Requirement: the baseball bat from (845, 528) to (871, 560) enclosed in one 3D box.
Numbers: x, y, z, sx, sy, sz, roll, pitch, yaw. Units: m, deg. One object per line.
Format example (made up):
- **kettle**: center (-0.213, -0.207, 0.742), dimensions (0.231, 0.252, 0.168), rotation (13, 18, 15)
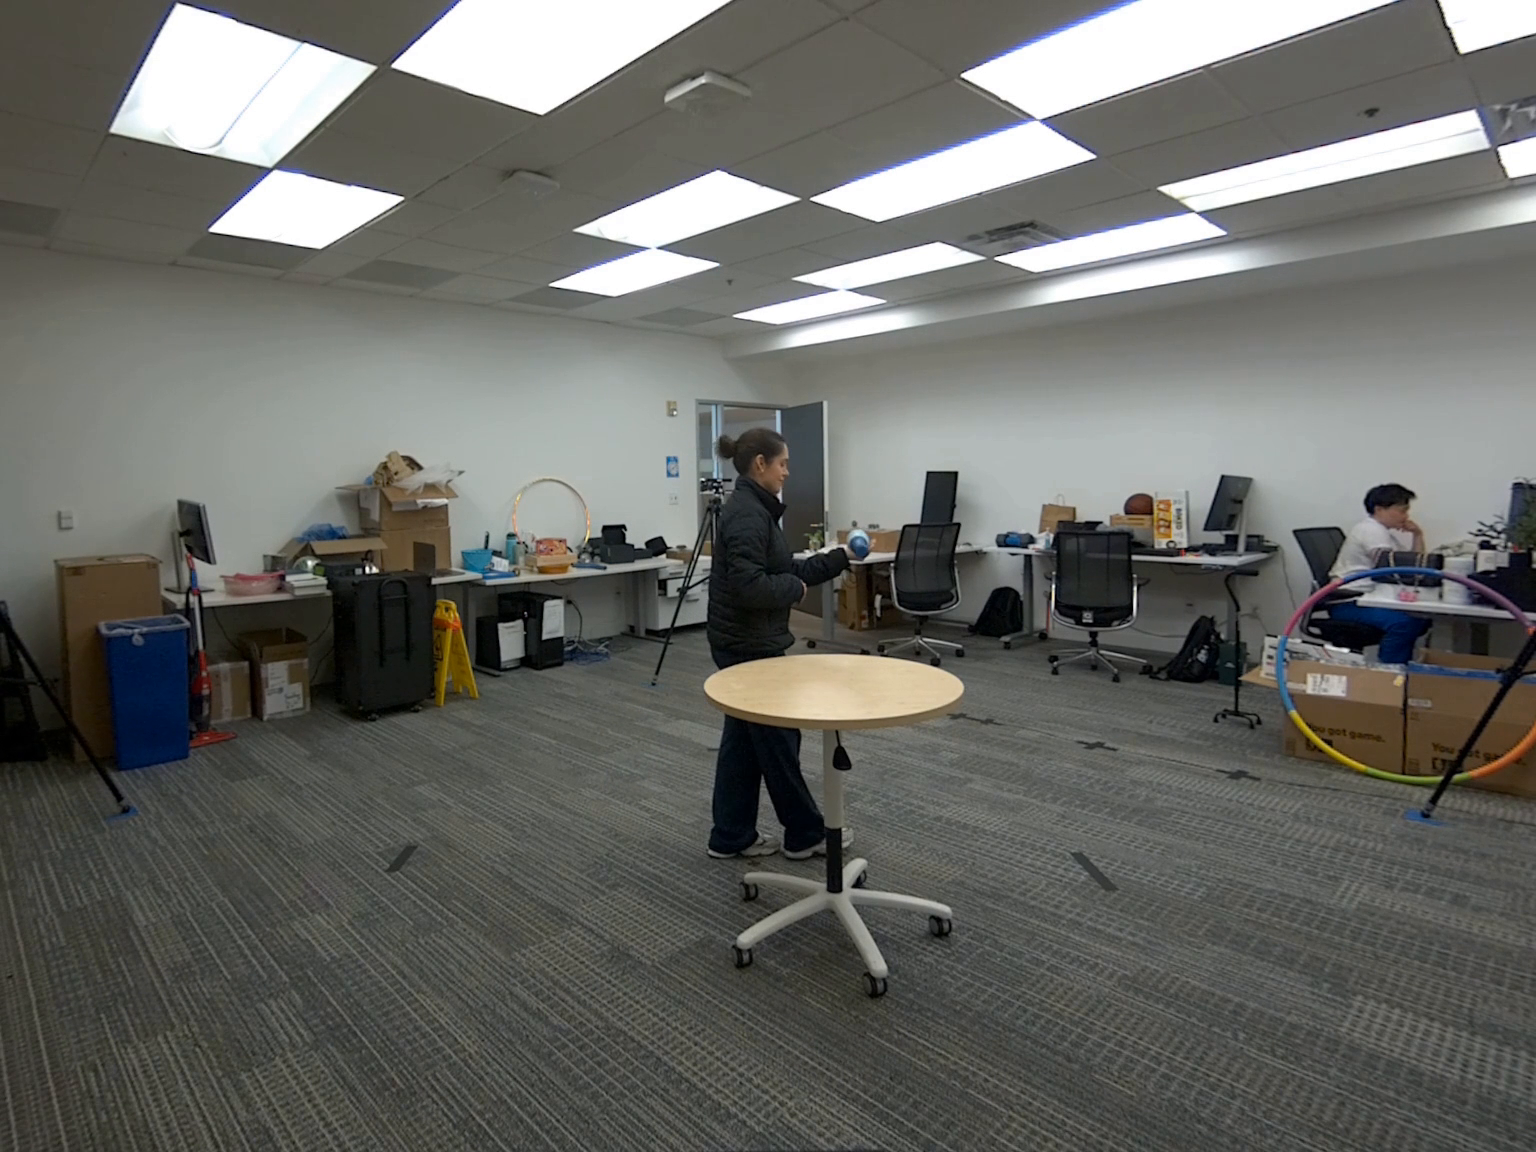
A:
- **baseball bat**: center (0.344, -0.106, 3.181), dimensions (0.089, 0.088, 0.545), rotation (-1, 10, 3)
